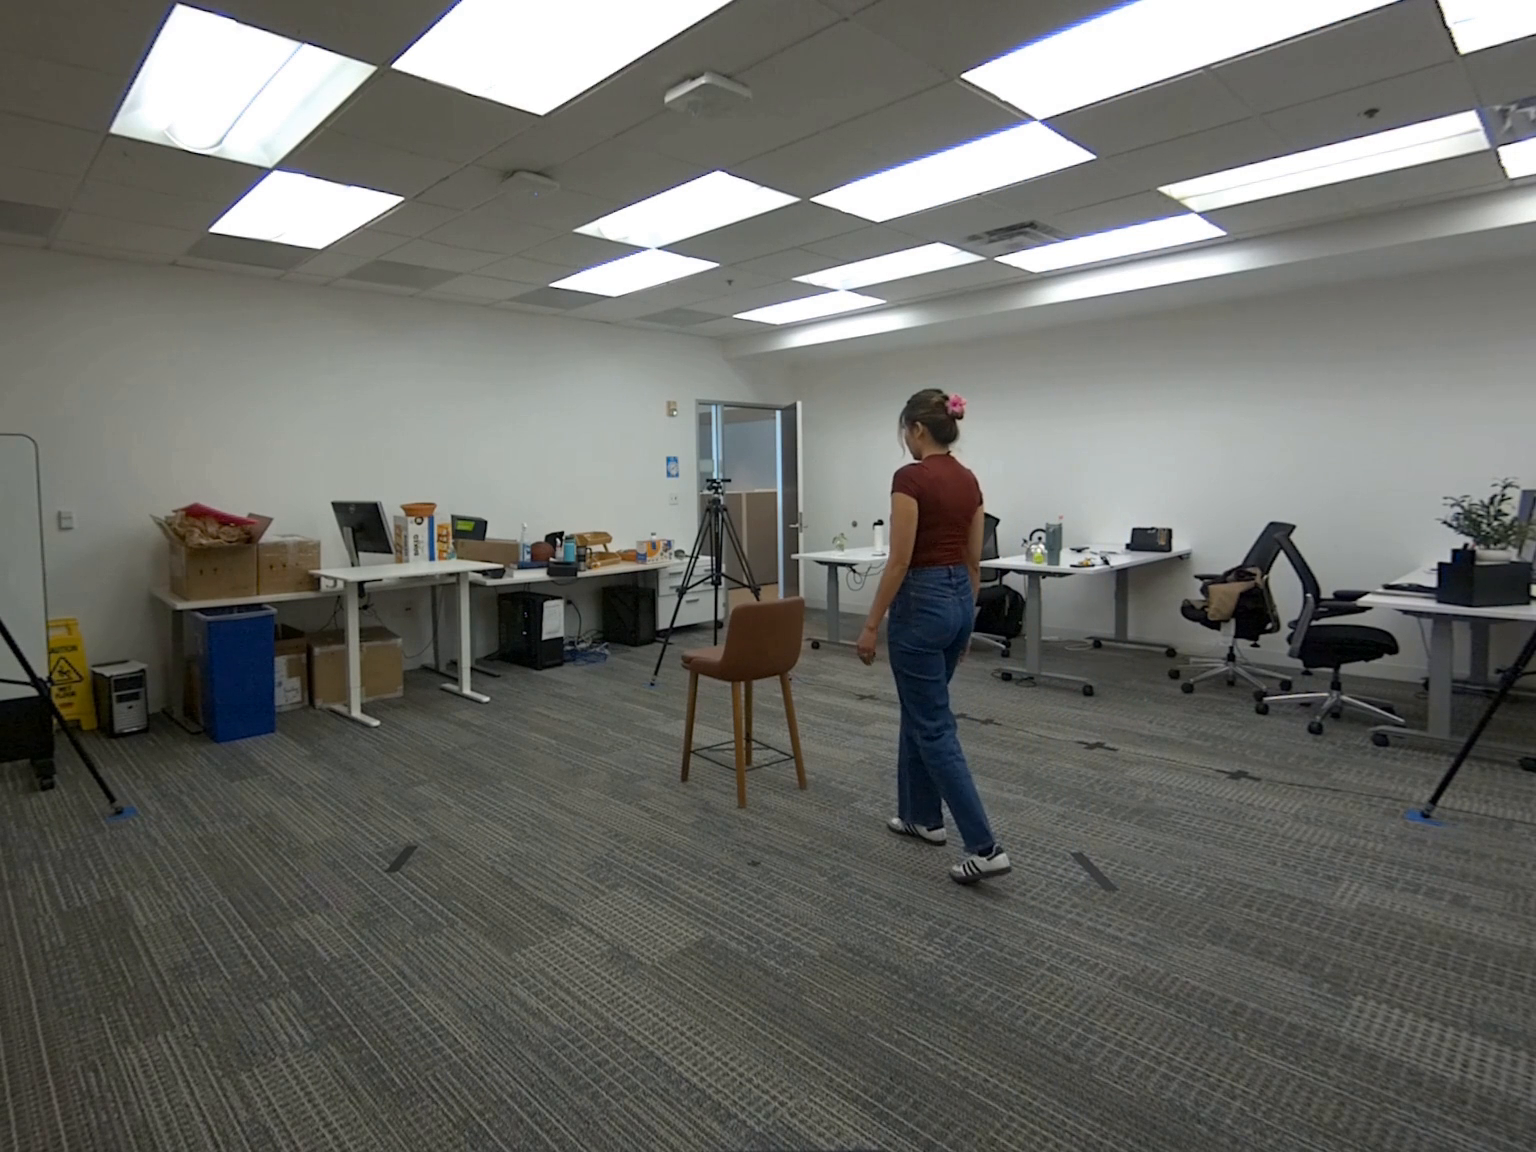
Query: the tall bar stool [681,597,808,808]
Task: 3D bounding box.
[{"bbox_3d":[-0.112,0.523,3.887,0.444,0.886,0.482,-4,6,-38],"label":"tall bar stool"}]
